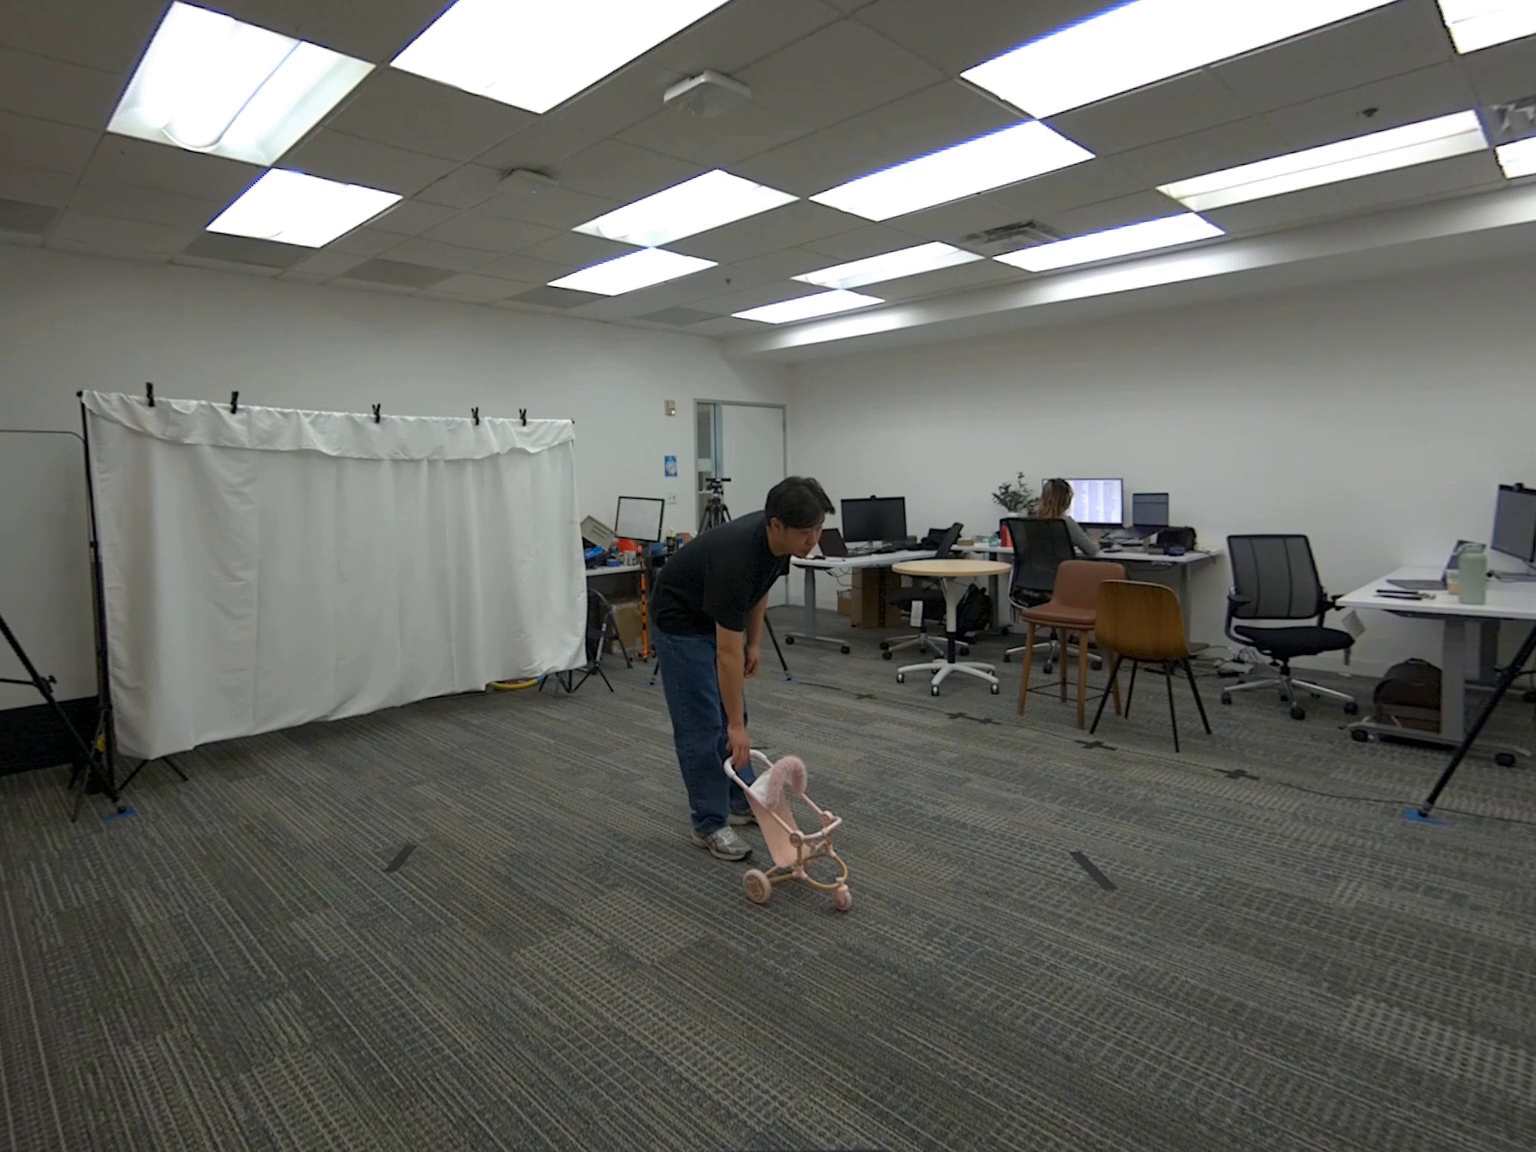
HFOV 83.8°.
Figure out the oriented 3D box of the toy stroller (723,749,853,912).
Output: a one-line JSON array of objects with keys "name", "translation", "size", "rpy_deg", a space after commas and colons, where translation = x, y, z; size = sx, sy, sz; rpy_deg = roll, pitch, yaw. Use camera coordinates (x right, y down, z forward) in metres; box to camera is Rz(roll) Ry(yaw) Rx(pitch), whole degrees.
[{"name": "toy stroller", "translation": [0.084, 0.841, 2.859], "size": [0.348, 0.539, 0.274], "rpy_deg": [-18, -7, 40]}]
